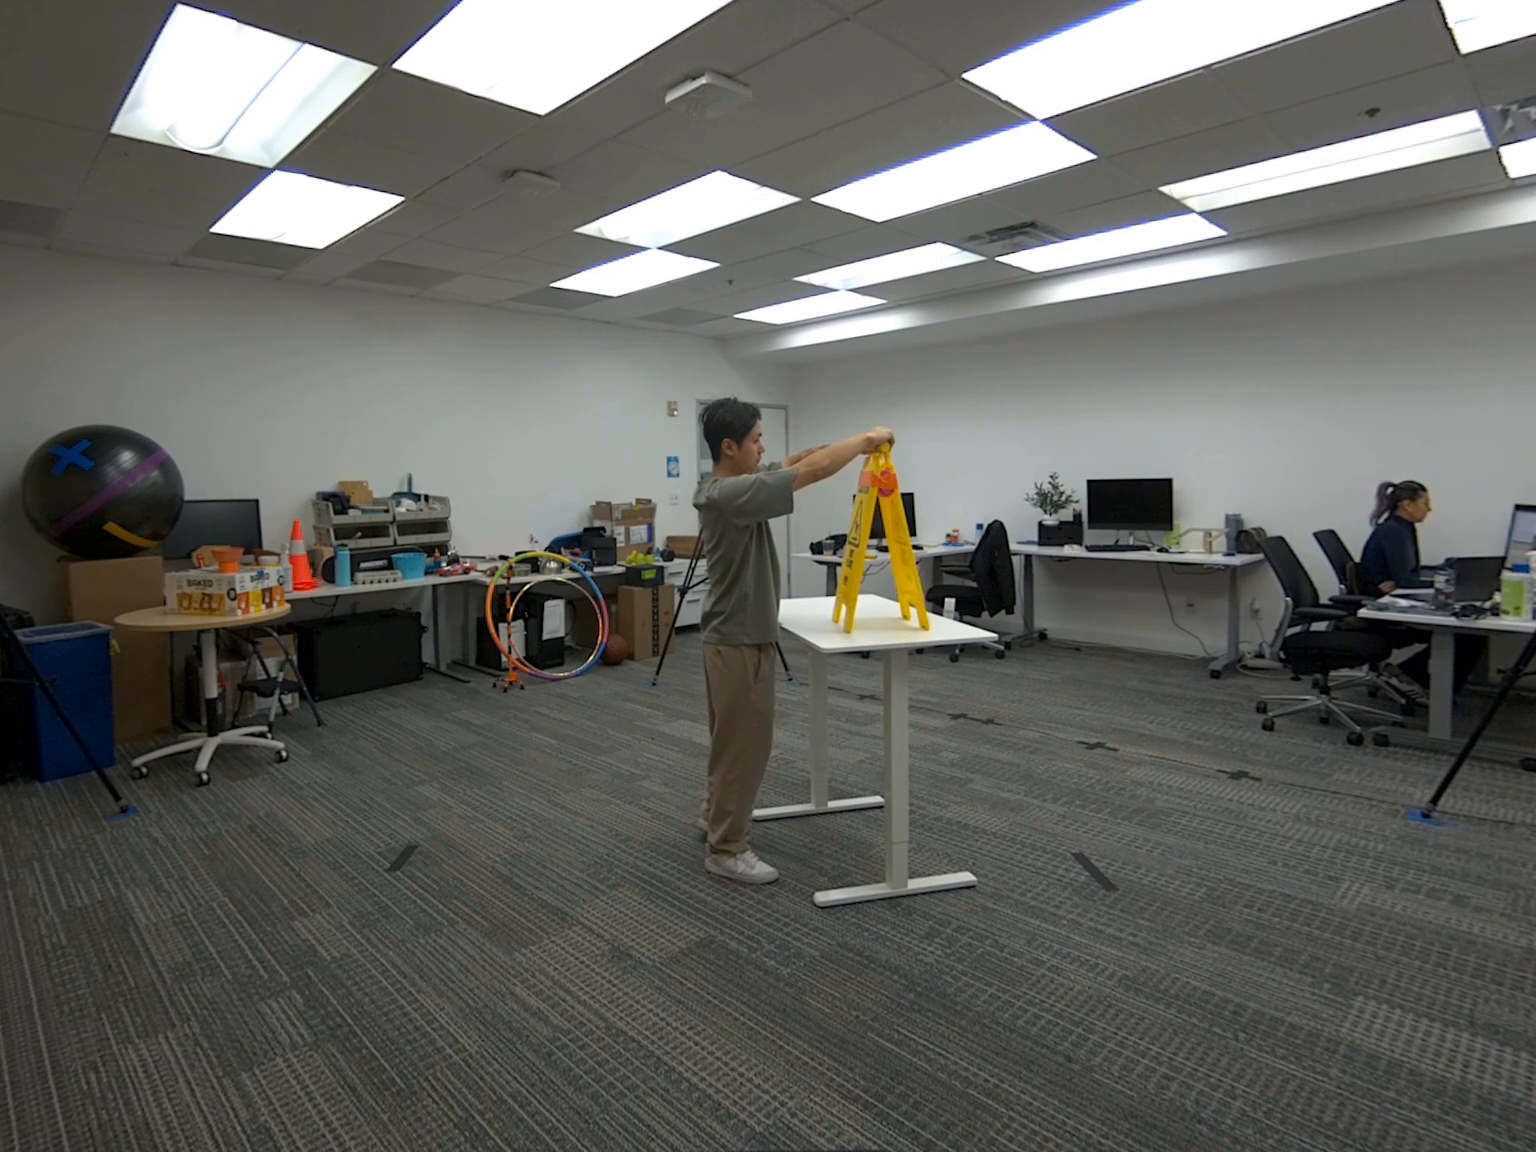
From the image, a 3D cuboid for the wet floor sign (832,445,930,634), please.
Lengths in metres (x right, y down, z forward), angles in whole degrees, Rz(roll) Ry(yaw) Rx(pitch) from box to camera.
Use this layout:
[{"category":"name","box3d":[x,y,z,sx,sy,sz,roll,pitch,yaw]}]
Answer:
[{"category":"wet floor sign","box3d":[0.380,-0.148,2.946,0.288,0.643,0.285,-1,5,-7]}]
